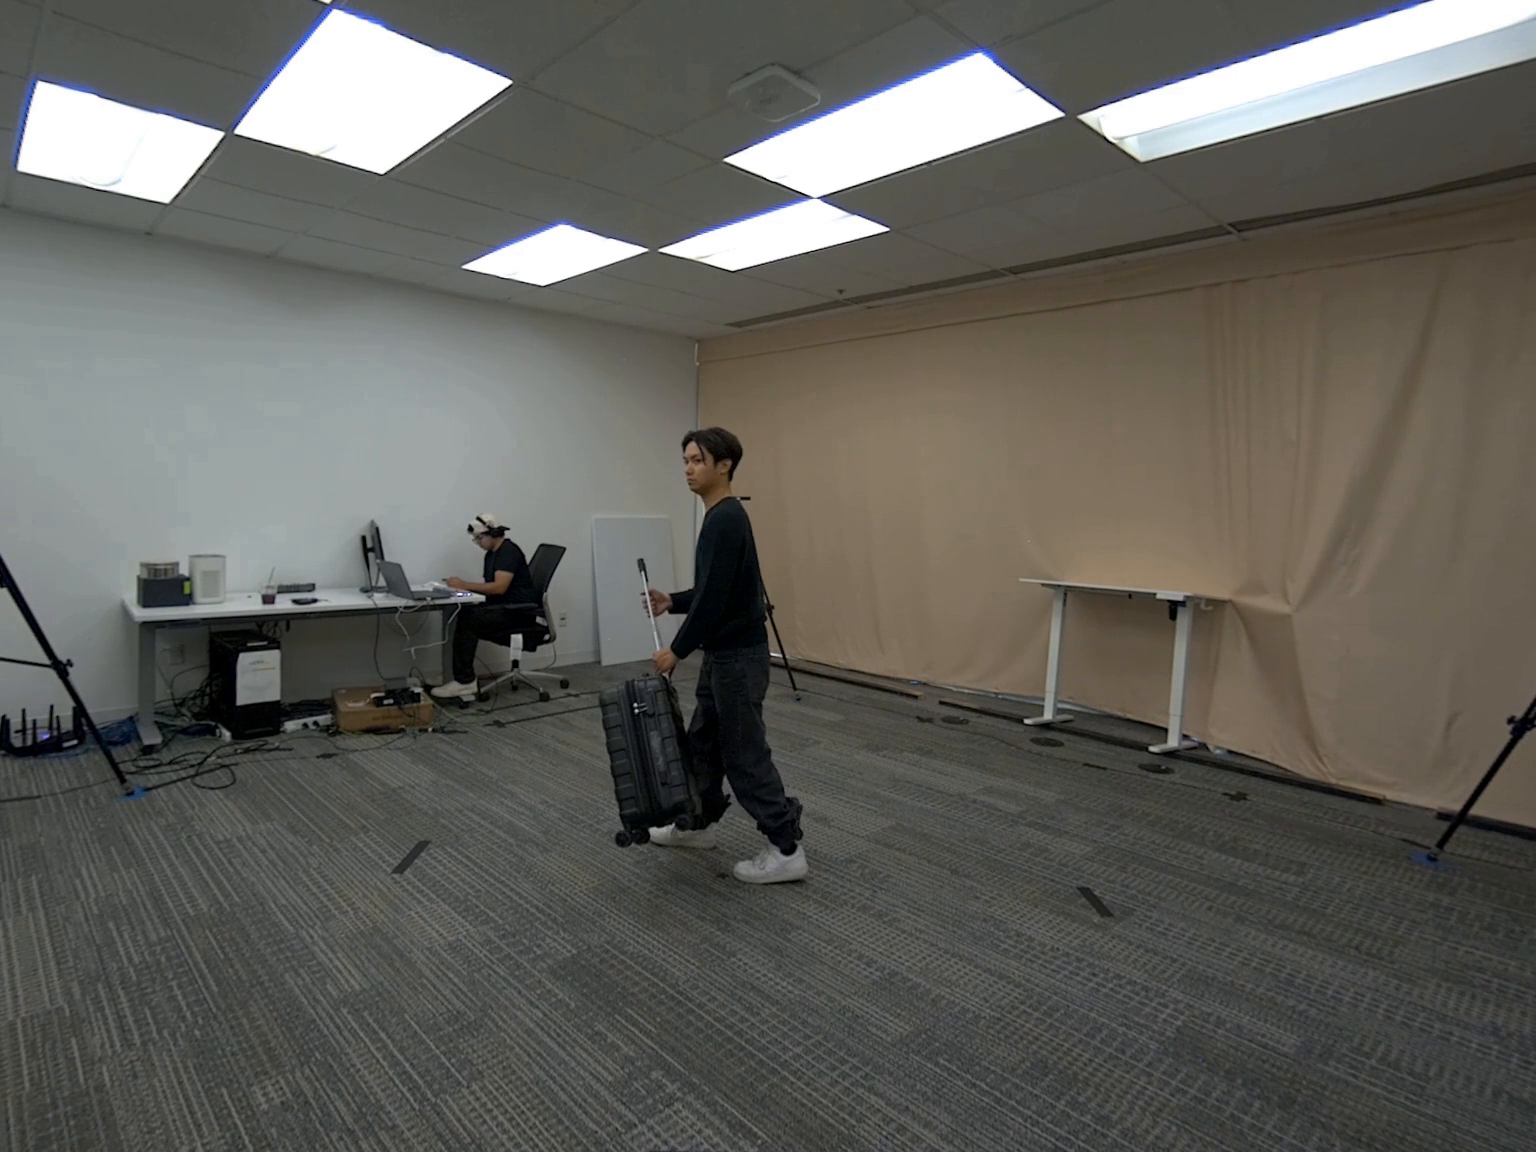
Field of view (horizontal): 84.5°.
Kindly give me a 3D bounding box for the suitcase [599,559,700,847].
[{"bbox_3d":[-0.472,0.447,3.045,0.256,0.994,0.379,-12,-17,-6],"label":"suitcase"}]
